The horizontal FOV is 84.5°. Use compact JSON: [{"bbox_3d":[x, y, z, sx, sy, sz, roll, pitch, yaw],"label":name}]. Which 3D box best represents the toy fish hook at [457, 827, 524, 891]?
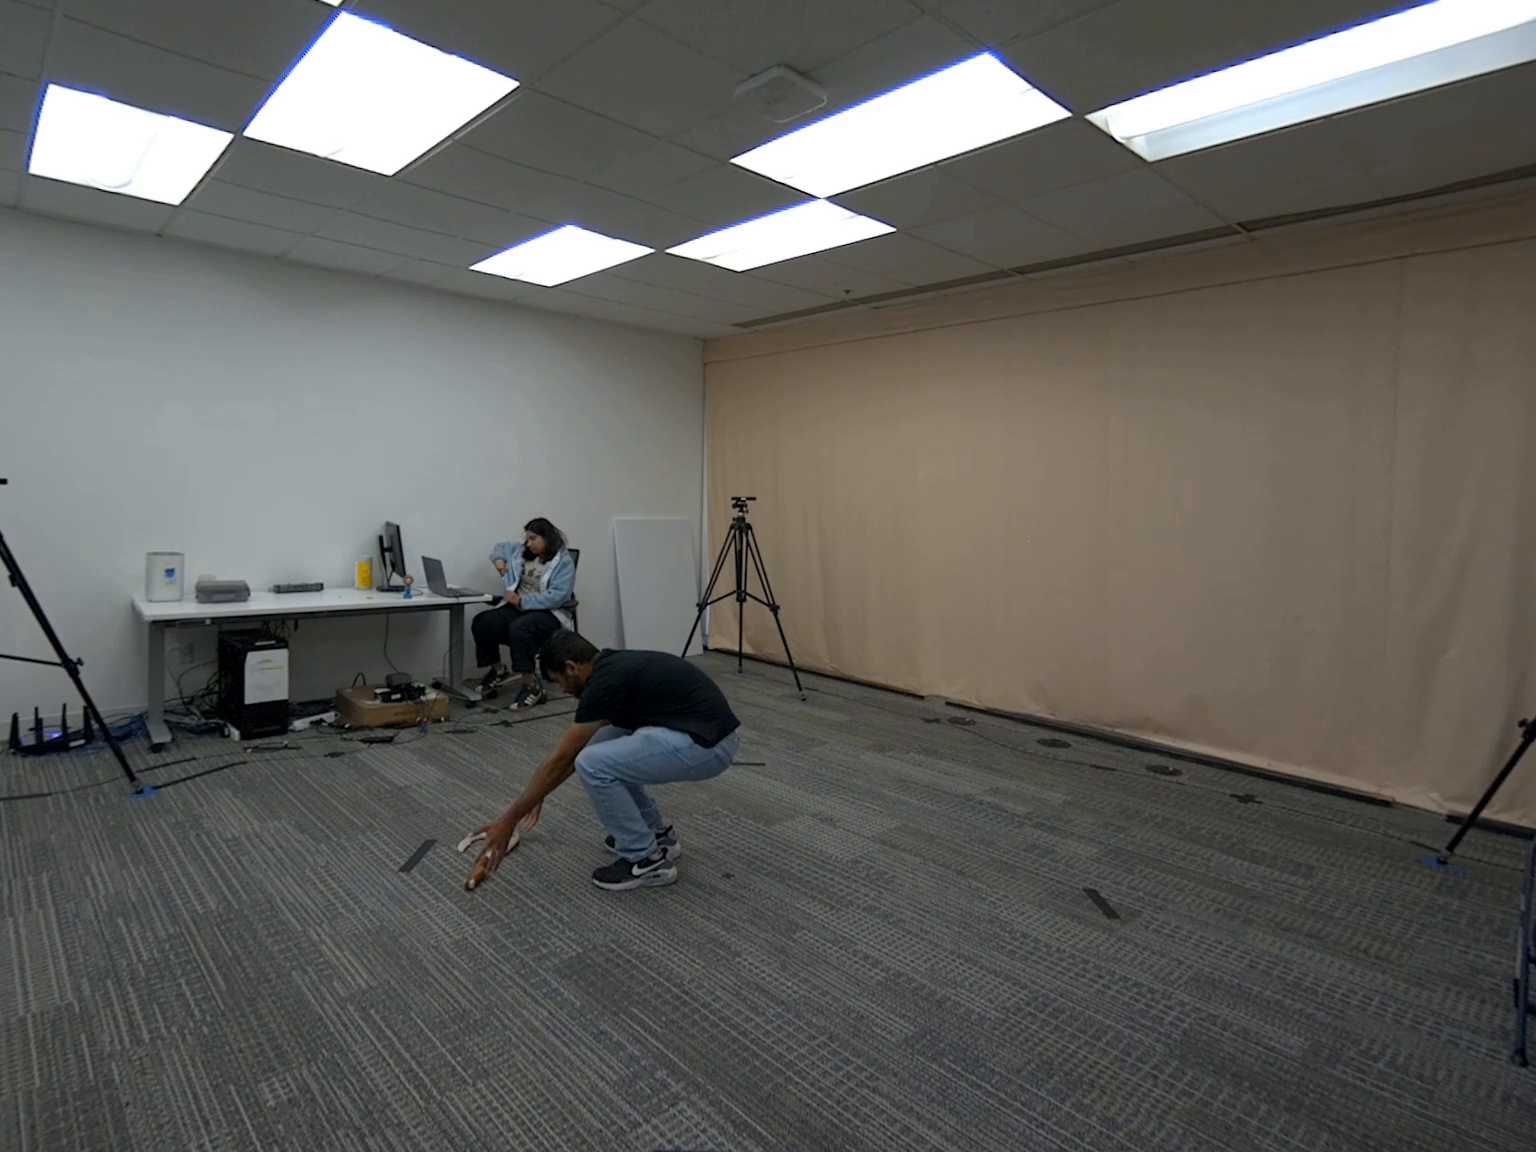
[{"bbox_3d":[-1.097,1.055,3.171,0.225,0.048,0.507,-7,4,0],"label":"toy fish hook"}]
